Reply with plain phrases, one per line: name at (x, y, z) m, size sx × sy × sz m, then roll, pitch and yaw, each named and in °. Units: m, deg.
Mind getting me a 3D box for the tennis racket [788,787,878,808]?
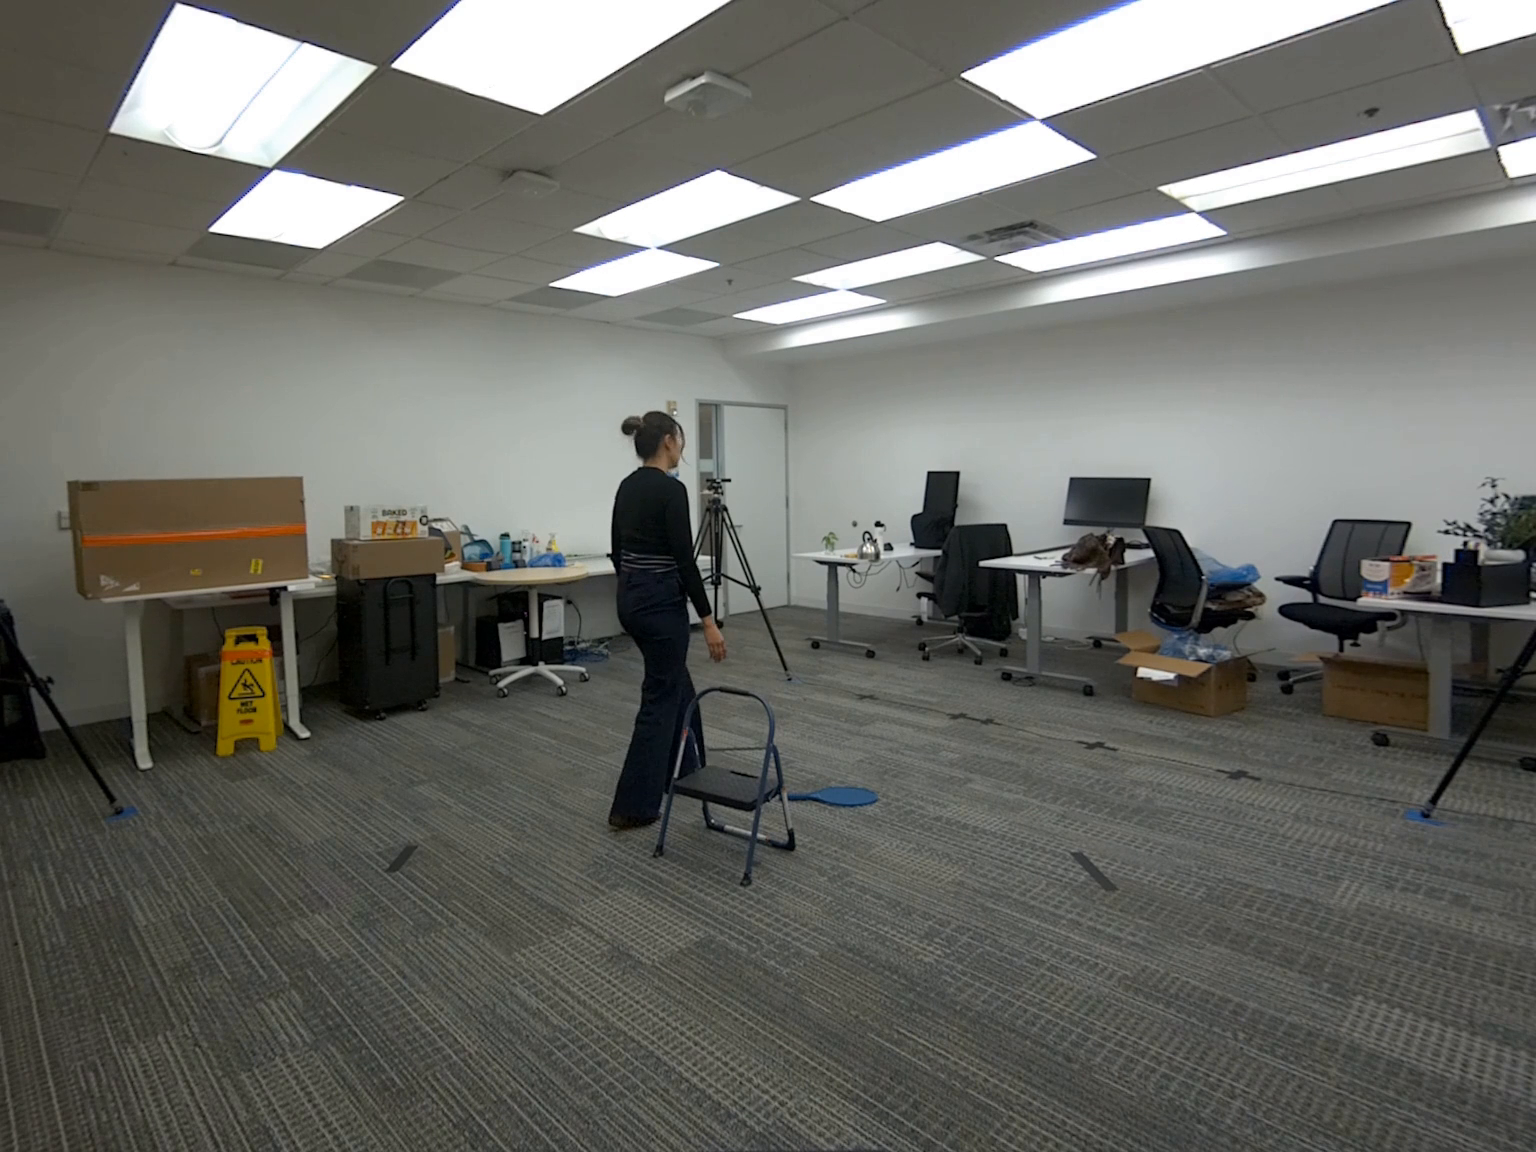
tennis racket at (0.263, 0.955, 3.718) m, size 0.431 × 0.031 × 0.216 m, roll 0°, pitch 6°, yaw -5°
